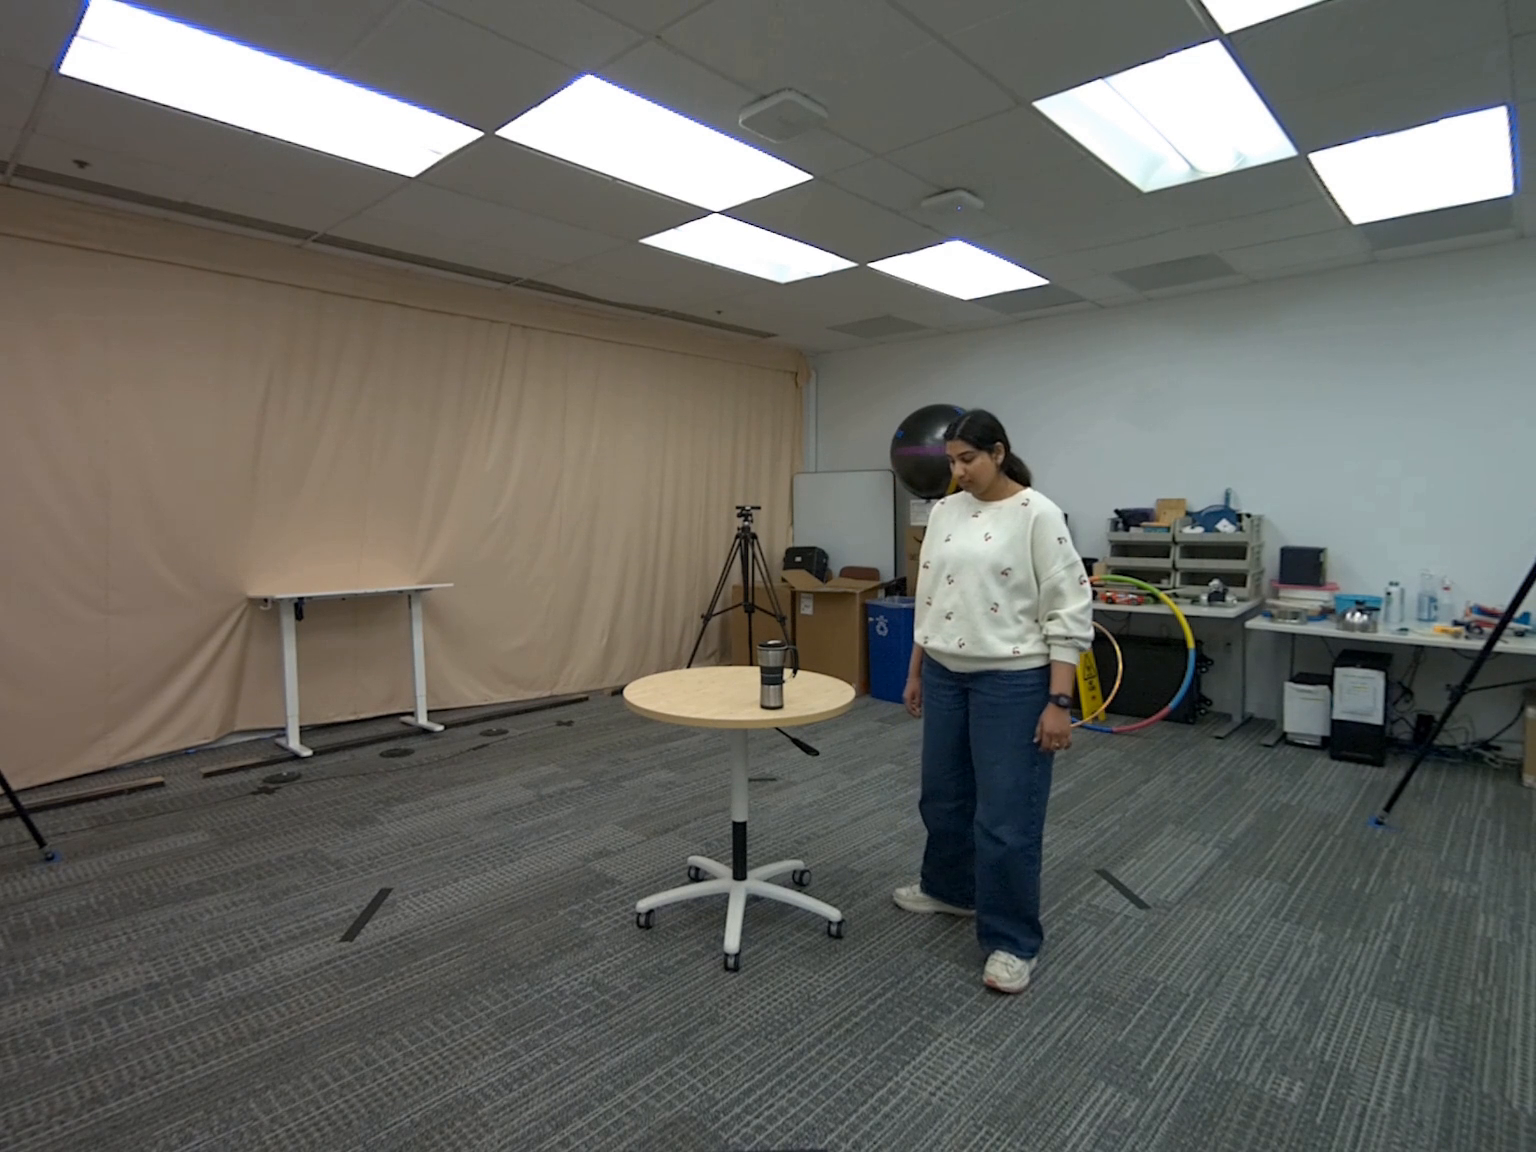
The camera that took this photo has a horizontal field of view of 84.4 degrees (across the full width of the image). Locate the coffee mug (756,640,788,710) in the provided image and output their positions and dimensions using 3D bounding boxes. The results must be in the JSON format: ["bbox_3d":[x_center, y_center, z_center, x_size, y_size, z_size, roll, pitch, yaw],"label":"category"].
[{"bbox_3d":[0.034,0.303,2.541,0.085,0.203,0.126,5,-3,-45],"label":"coffee mug"}]
